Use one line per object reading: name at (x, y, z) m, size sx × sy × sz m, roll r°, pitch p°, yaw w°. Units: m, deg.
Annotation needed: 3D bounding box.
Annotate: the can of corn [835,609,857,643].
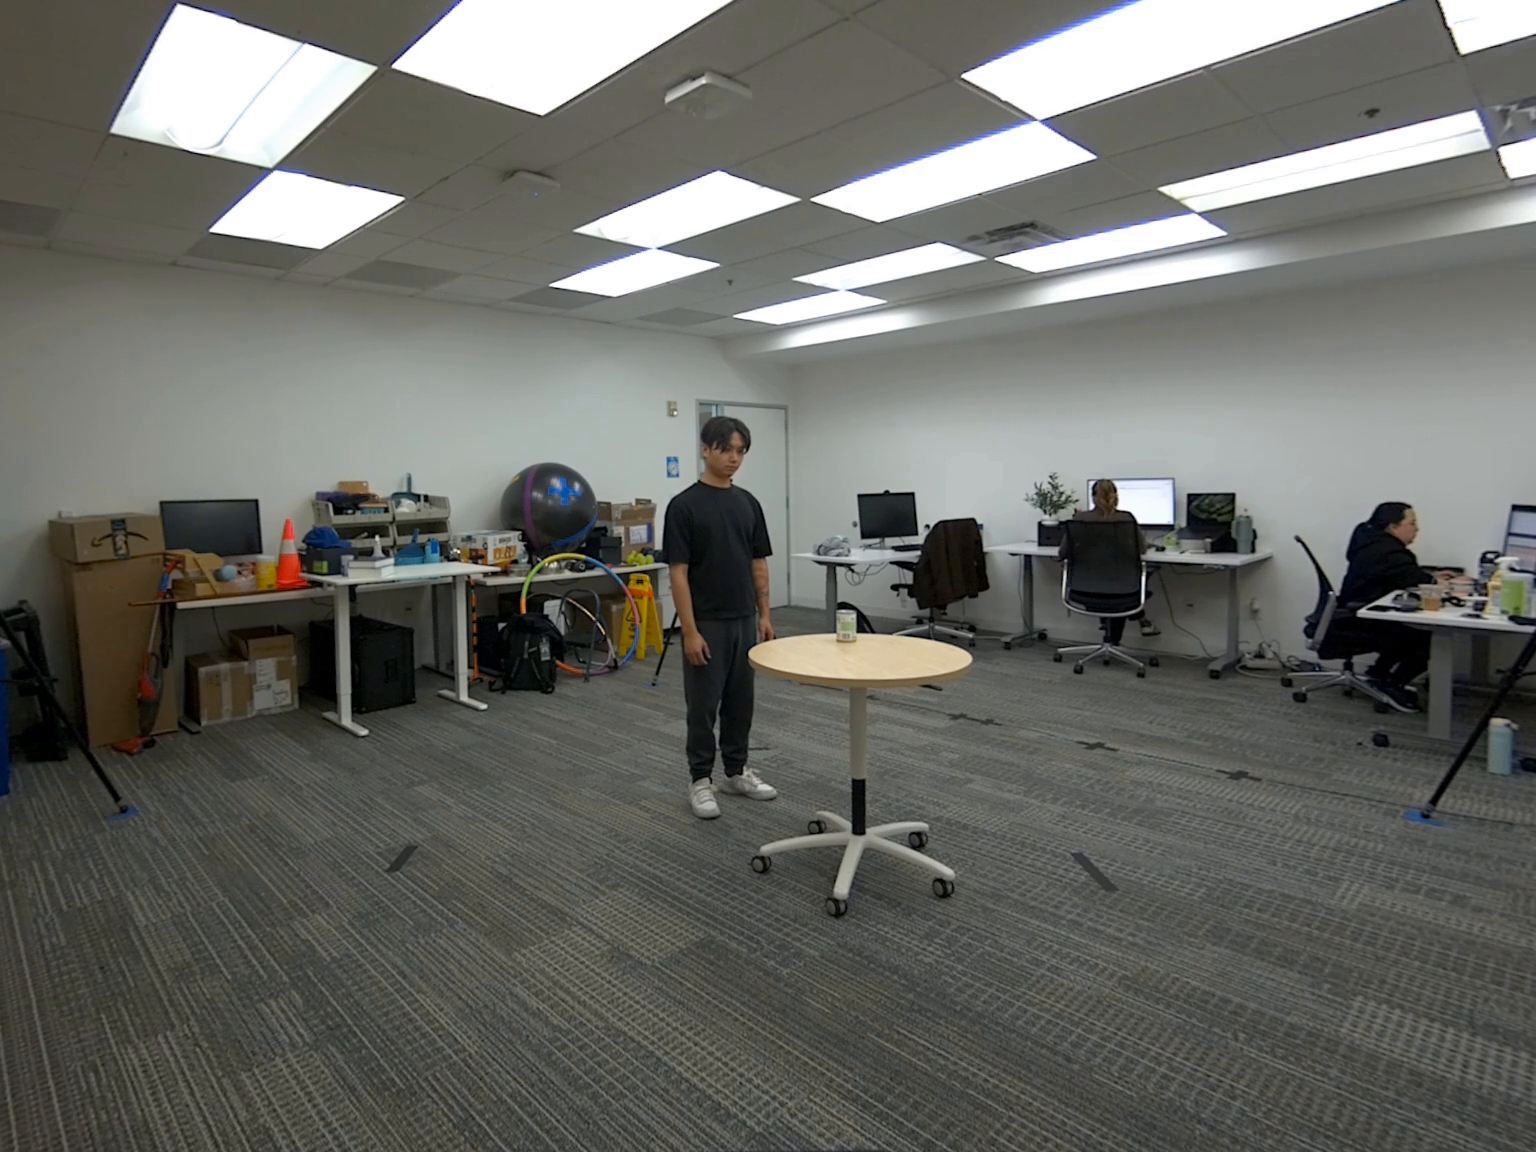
can of corn at (0.295, 0.188, 3.205) m, size 0.074 × 0.111 × 0.074 m, roll 0°, pitch 3°, yaw -2°
